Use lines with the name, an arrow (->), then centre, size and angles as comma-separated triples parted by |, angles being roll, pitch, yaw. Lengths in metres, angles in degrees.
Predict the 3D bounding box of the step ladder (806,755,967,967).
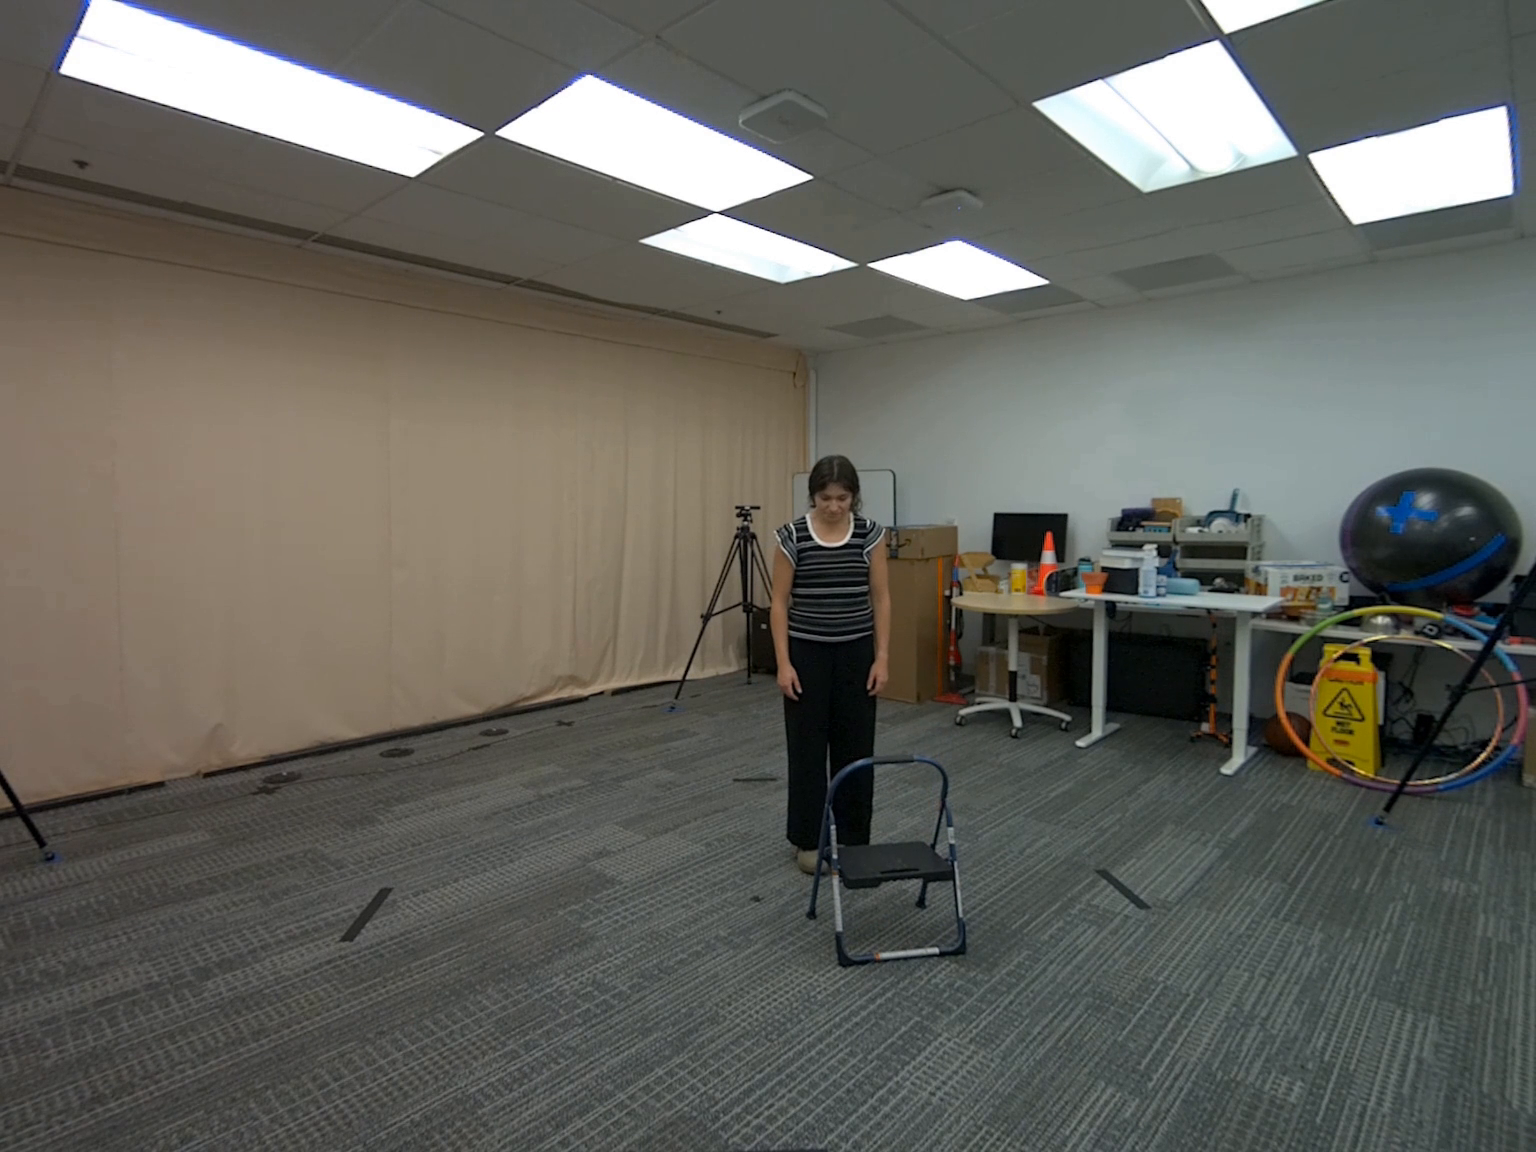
step ladder -> 0.382, 0.862, 2.725 | 0.425, 0.605, 0.354 | -1, 3, -13
